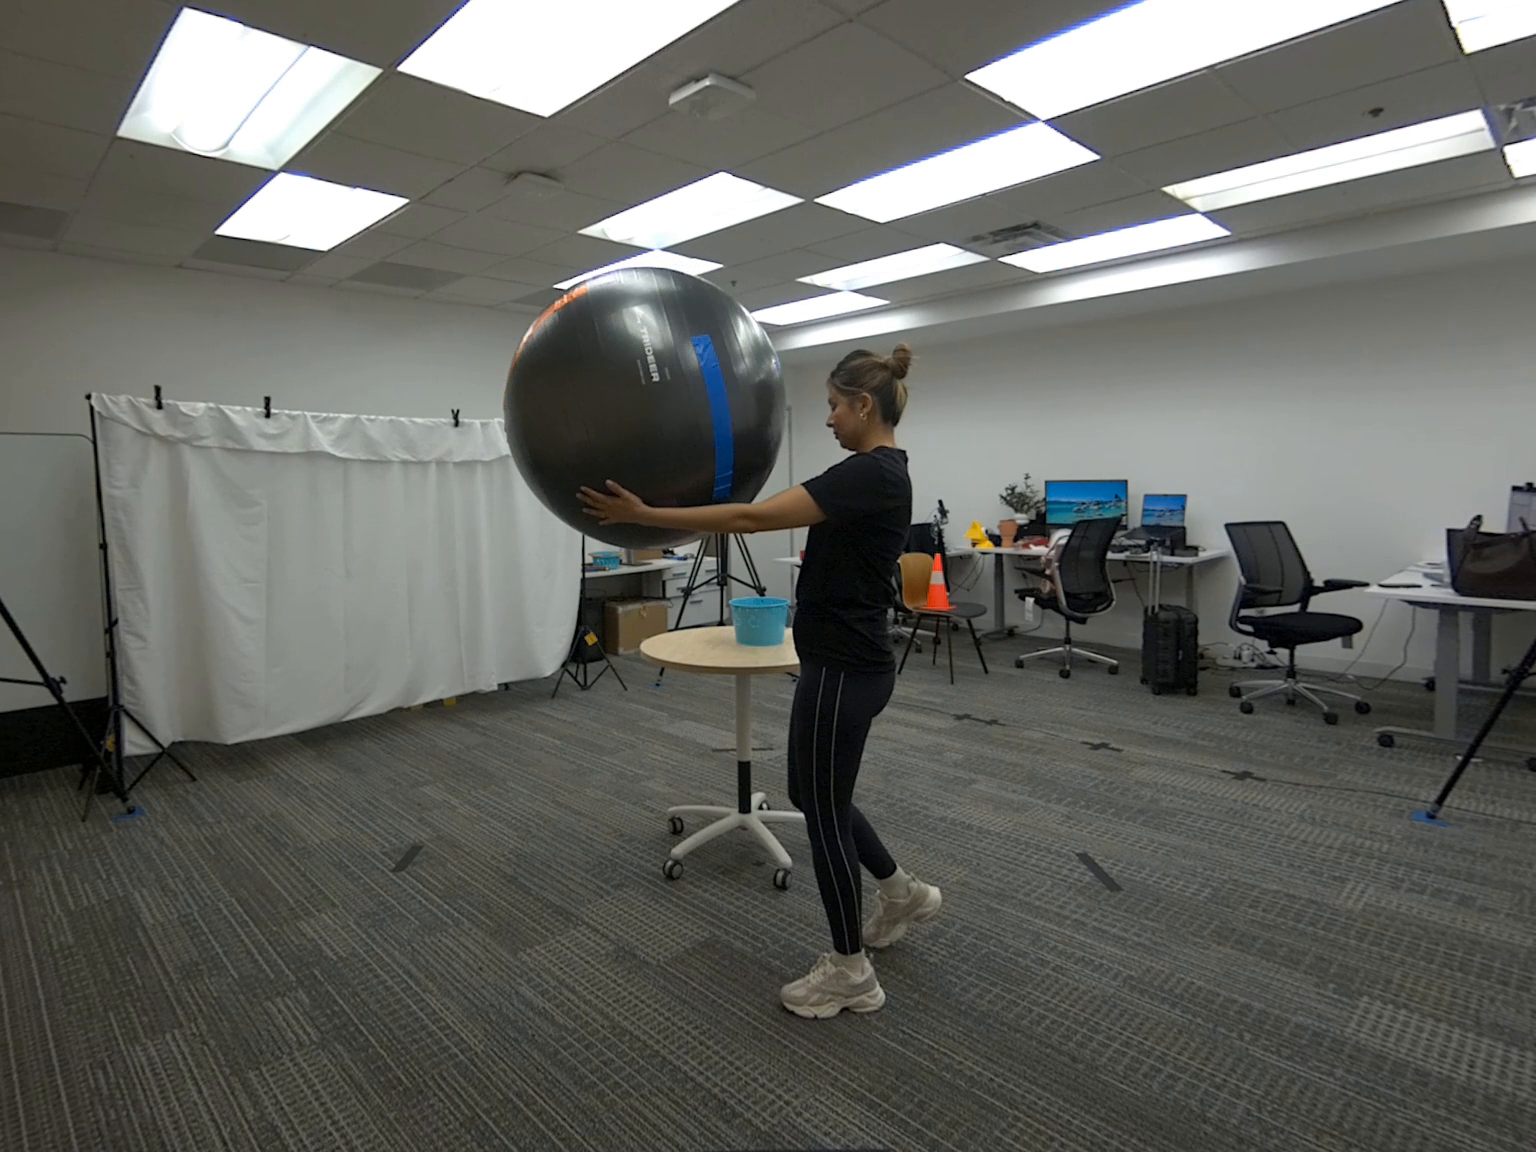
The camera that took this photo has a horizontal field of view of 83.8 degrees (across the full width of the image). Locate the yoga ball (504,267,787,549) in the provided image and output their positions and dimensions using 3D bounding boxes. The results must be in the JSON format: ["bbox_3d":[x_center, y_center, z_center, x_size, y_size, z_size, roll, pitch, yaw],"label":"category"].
[{"bbox_3d":[-0.328,-0.443,2.325,0.757,0.755,0.762,-1,5,-2],"label":"yoga ball"}]
